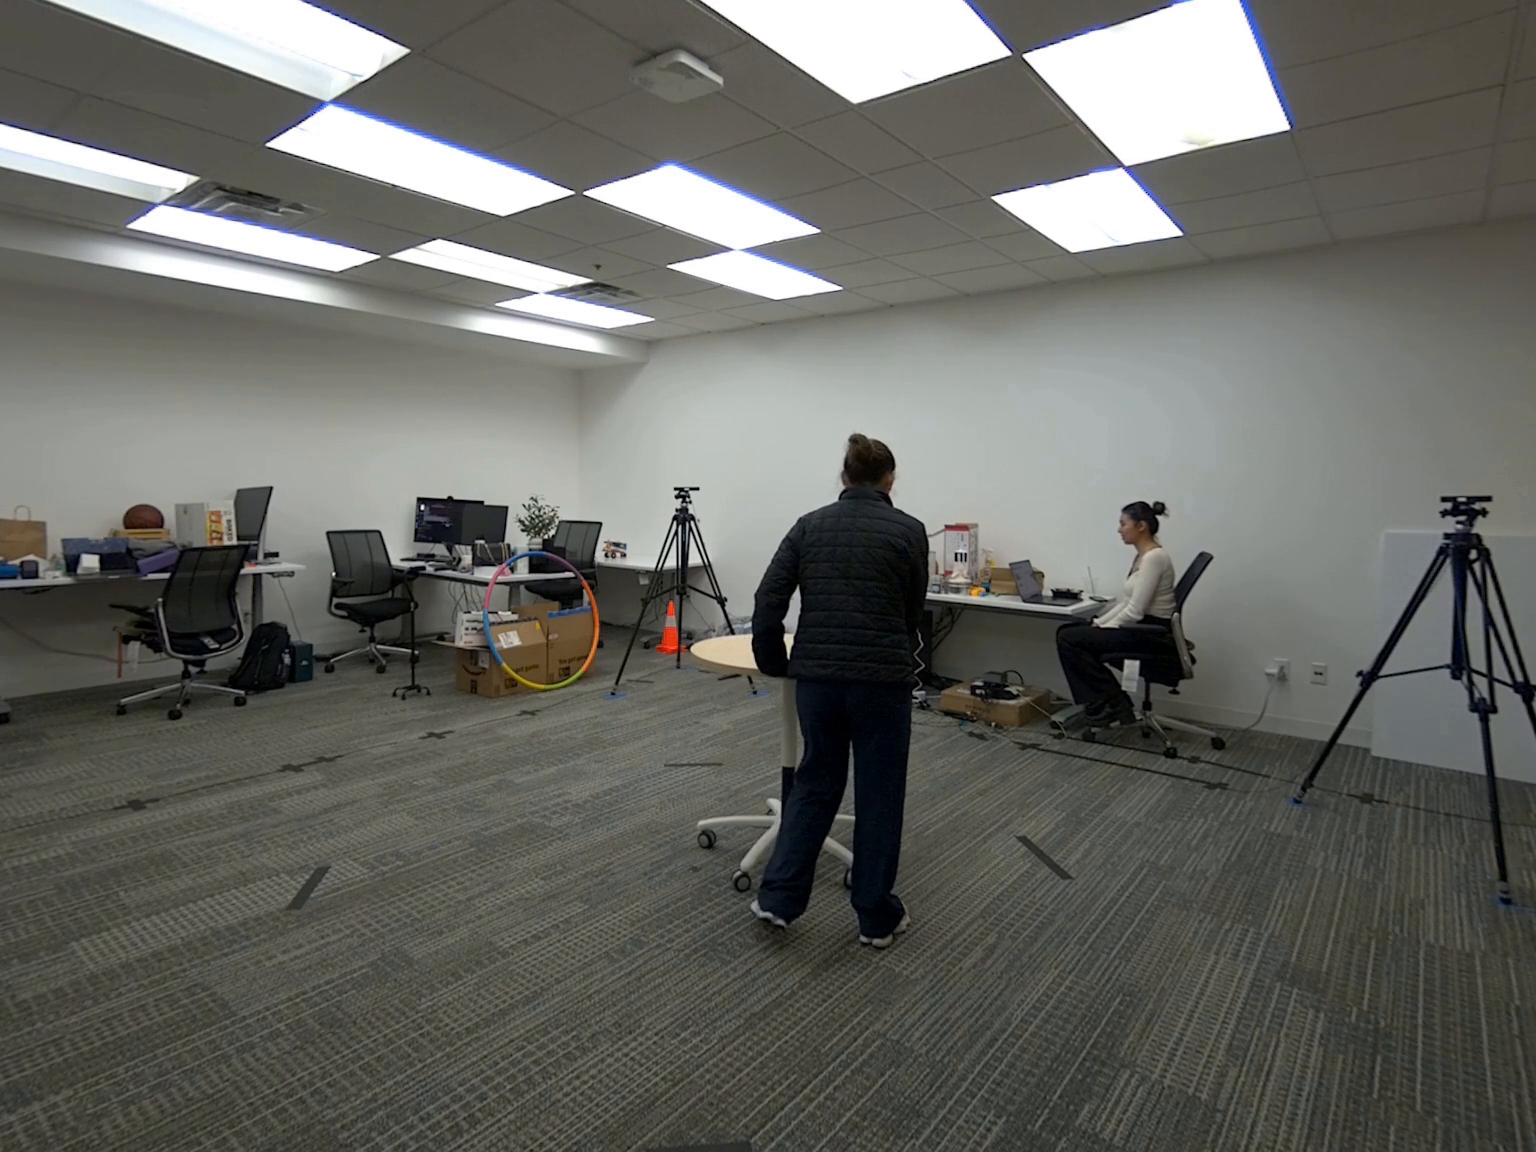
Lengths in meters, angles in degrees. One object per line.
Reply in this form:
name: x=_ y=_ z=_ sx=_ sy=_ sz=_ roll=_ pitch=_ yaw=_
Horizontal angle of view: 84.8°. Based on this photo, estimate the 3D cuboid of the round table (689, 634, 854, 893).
round table: x=0.109 y=0.664 z=3.223 sx=0.784 sy=0.784 sz=0.789 roll=1 pitch=4 yaw=-2
